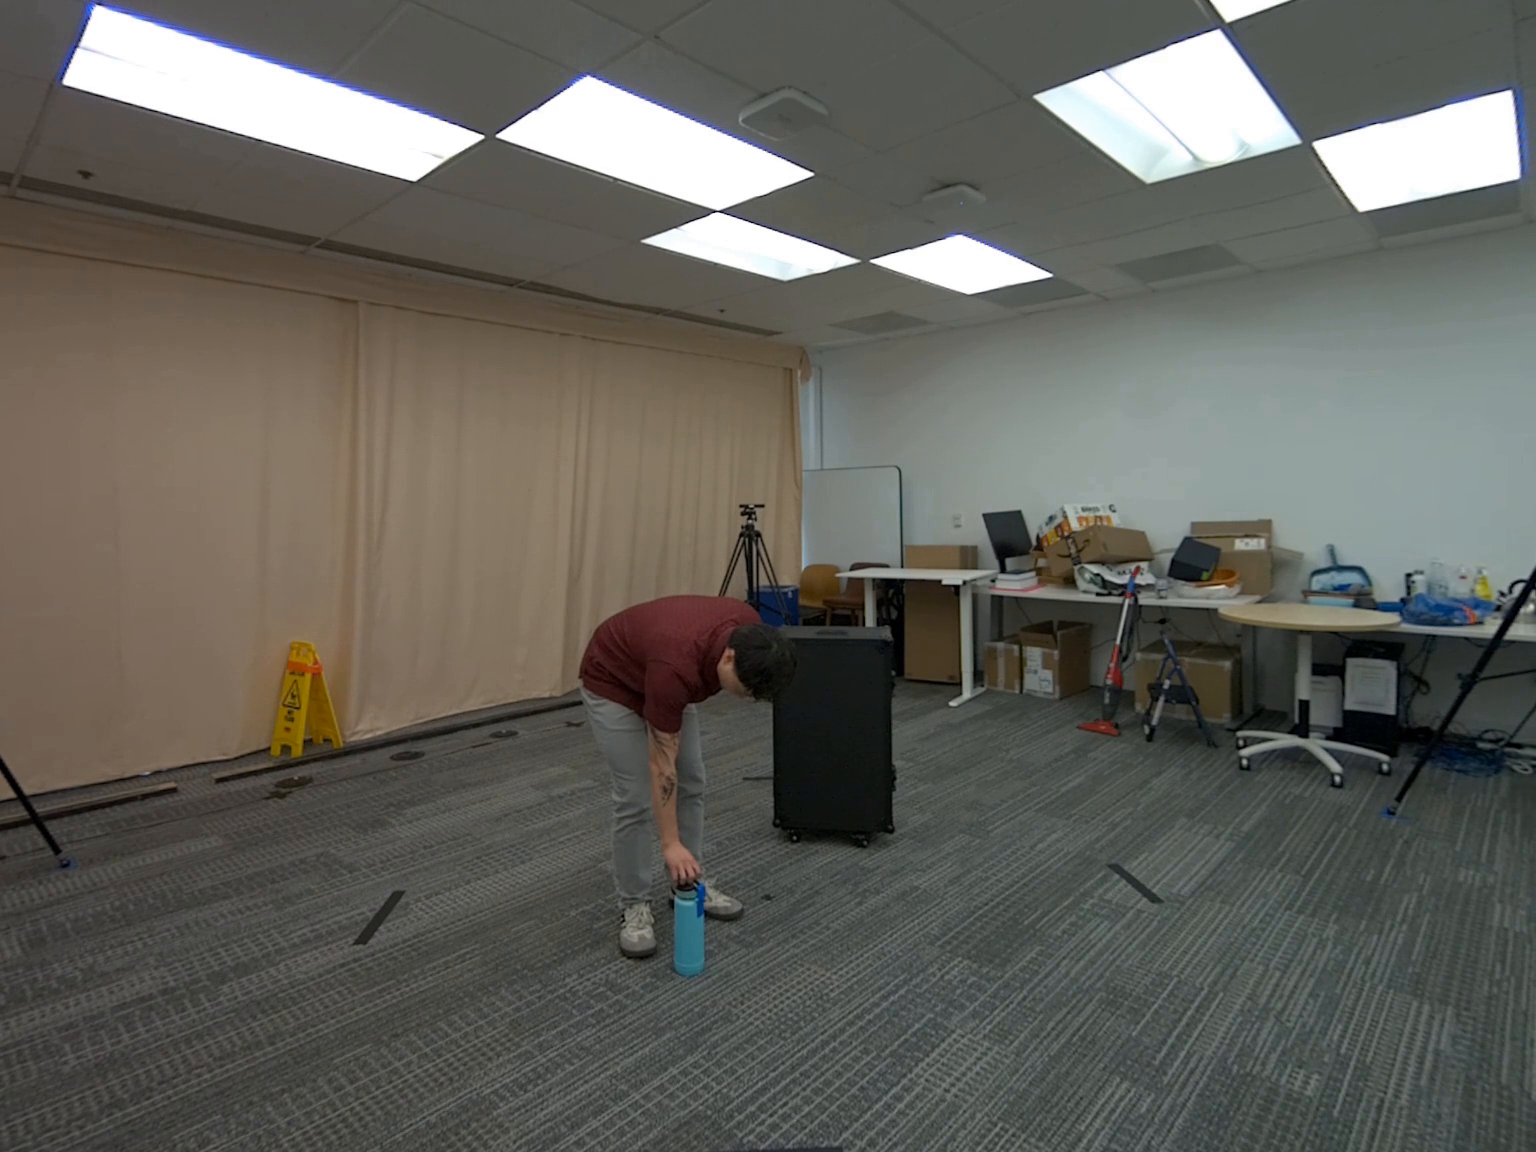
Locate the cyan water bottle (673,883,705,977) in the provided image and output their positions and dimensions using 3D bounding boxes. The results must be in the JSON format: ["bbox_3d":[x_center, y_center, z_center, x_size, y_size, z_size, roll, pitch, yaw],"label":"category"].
[{"bbox_3d":[-0.228,1.036,2.532,0.092,0.283,0.092,1,1,-2],"label":"cyan water bottle"}]
